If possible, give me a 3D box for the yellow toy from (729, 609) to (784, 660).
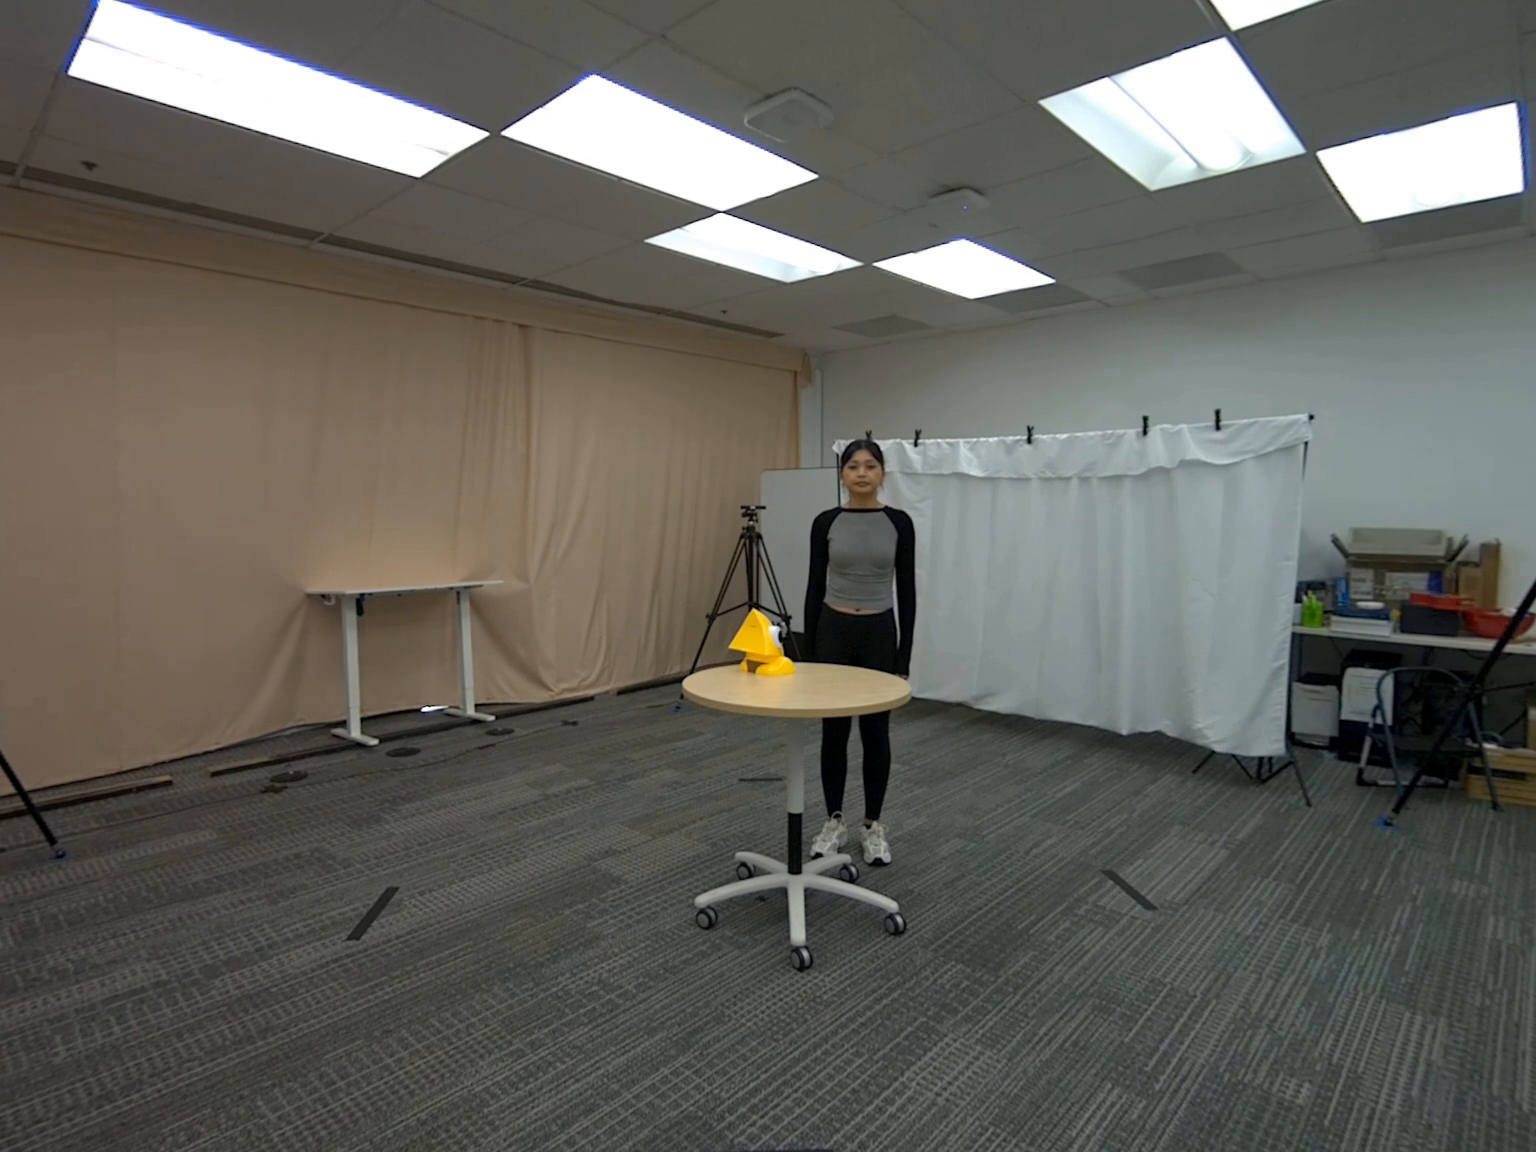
[{"bbox_3d":[-0.004,0.232,3.067,0.187,0.230,0.211,-1,3,-41],"label":"yellow toy"}]
